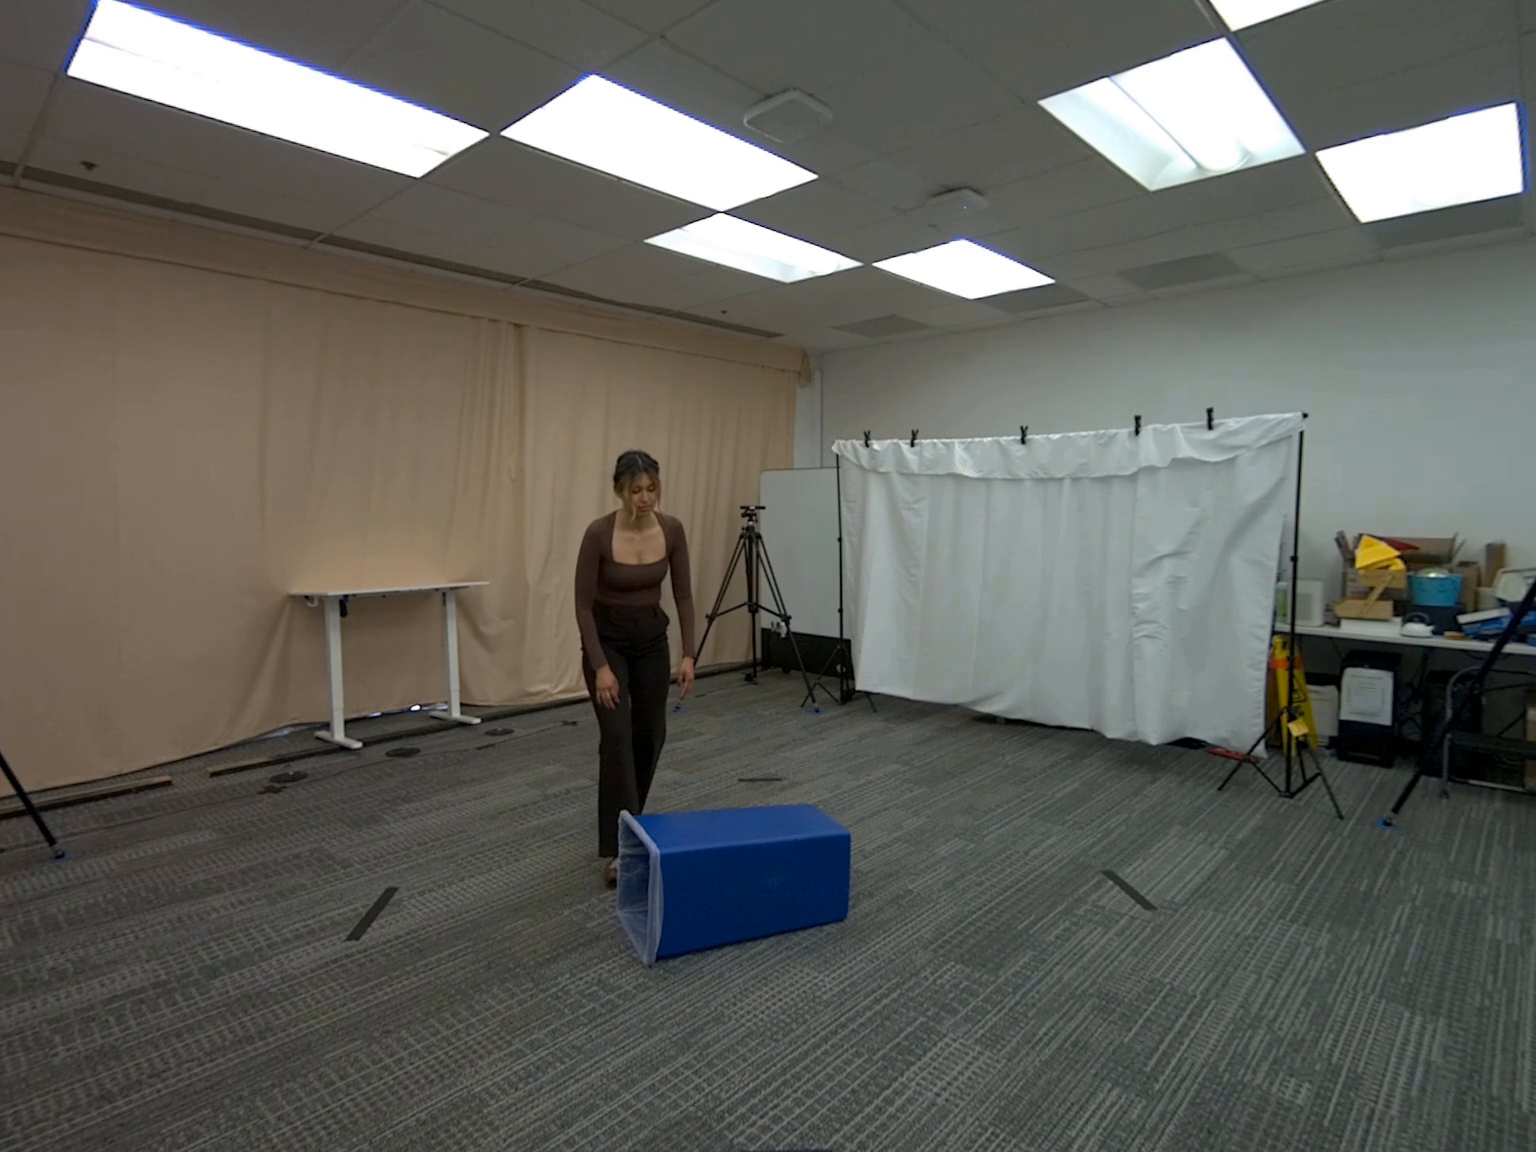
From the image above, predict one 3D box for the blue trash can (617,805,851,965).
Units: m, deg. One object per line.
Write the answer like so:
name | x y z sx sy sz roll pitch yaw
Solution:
blue trash can | -0.104 0.985 2.816 0.698 0.378 0.383 0 2 -22
